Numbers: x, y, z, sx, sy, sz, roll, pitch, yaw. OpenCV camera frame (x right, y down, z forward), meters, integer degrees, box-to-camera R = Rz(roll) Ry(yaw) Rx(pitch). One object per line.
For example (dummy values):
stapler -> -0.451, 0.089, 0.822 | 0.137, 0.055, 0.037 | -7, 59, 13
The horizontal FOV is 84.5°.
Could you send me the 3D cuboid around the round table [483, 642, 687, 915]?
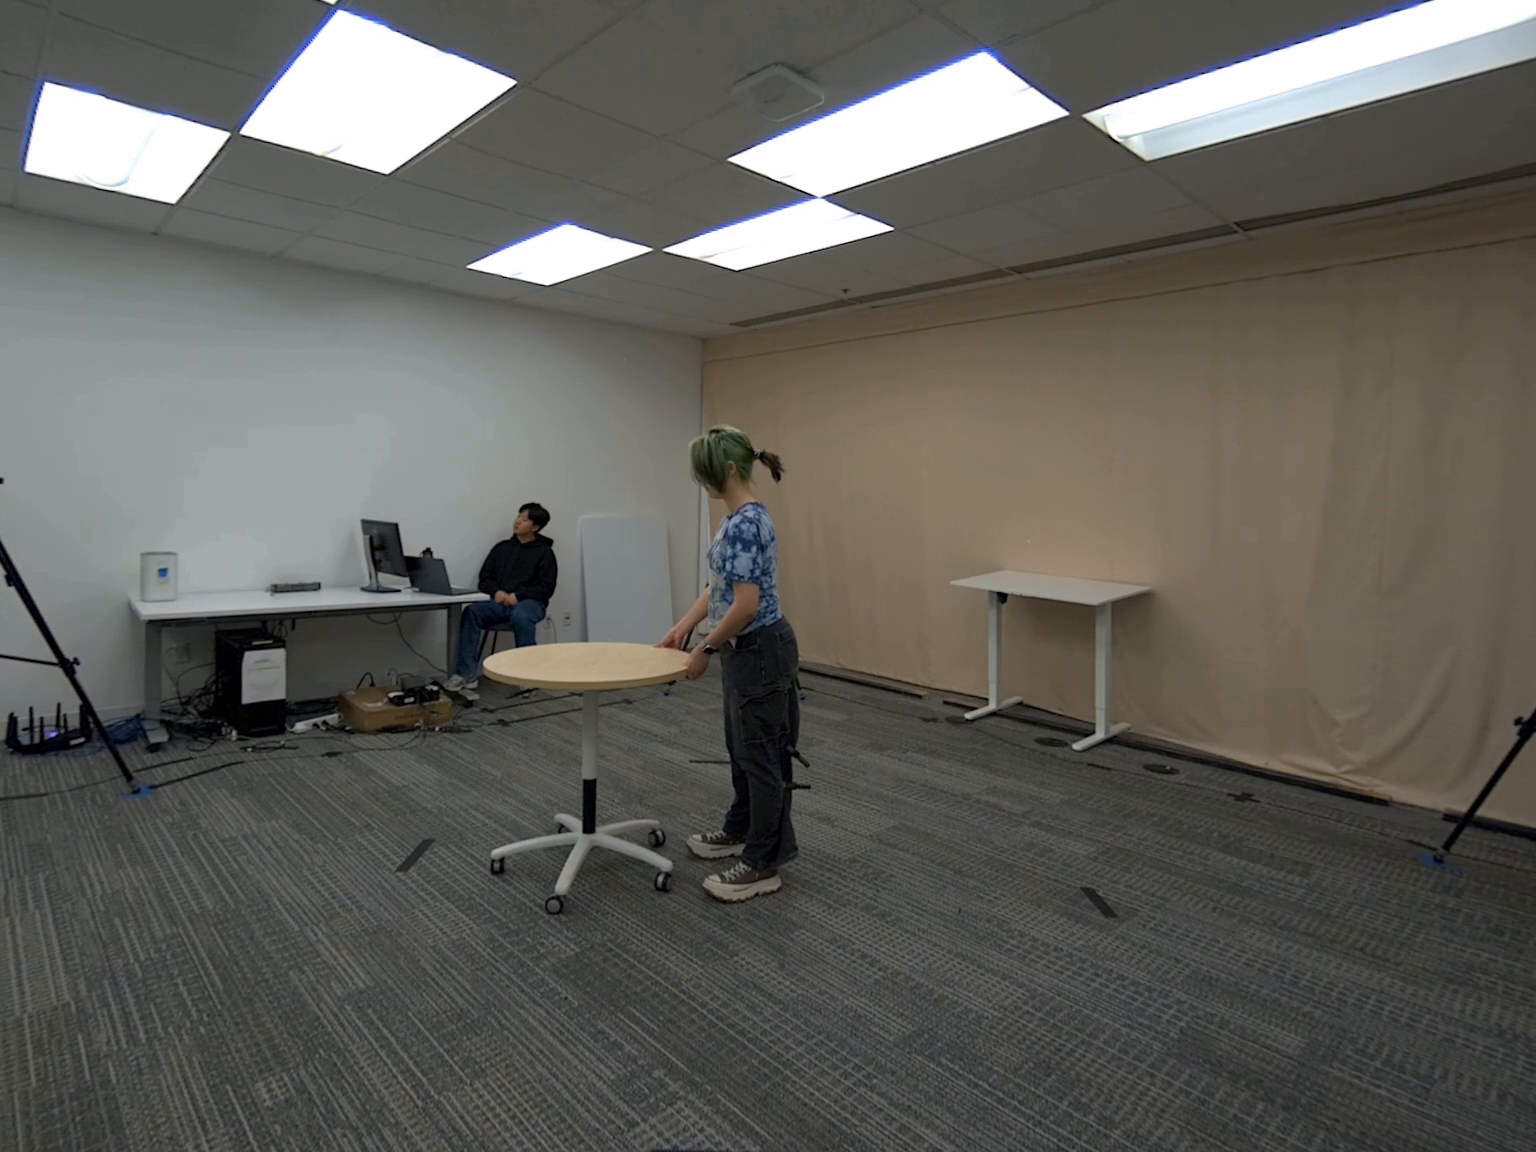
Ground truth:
round table -> -0.667, 0.701, 3.104 | 0.763, 0.792, 0.766 | 1, 4, -1
